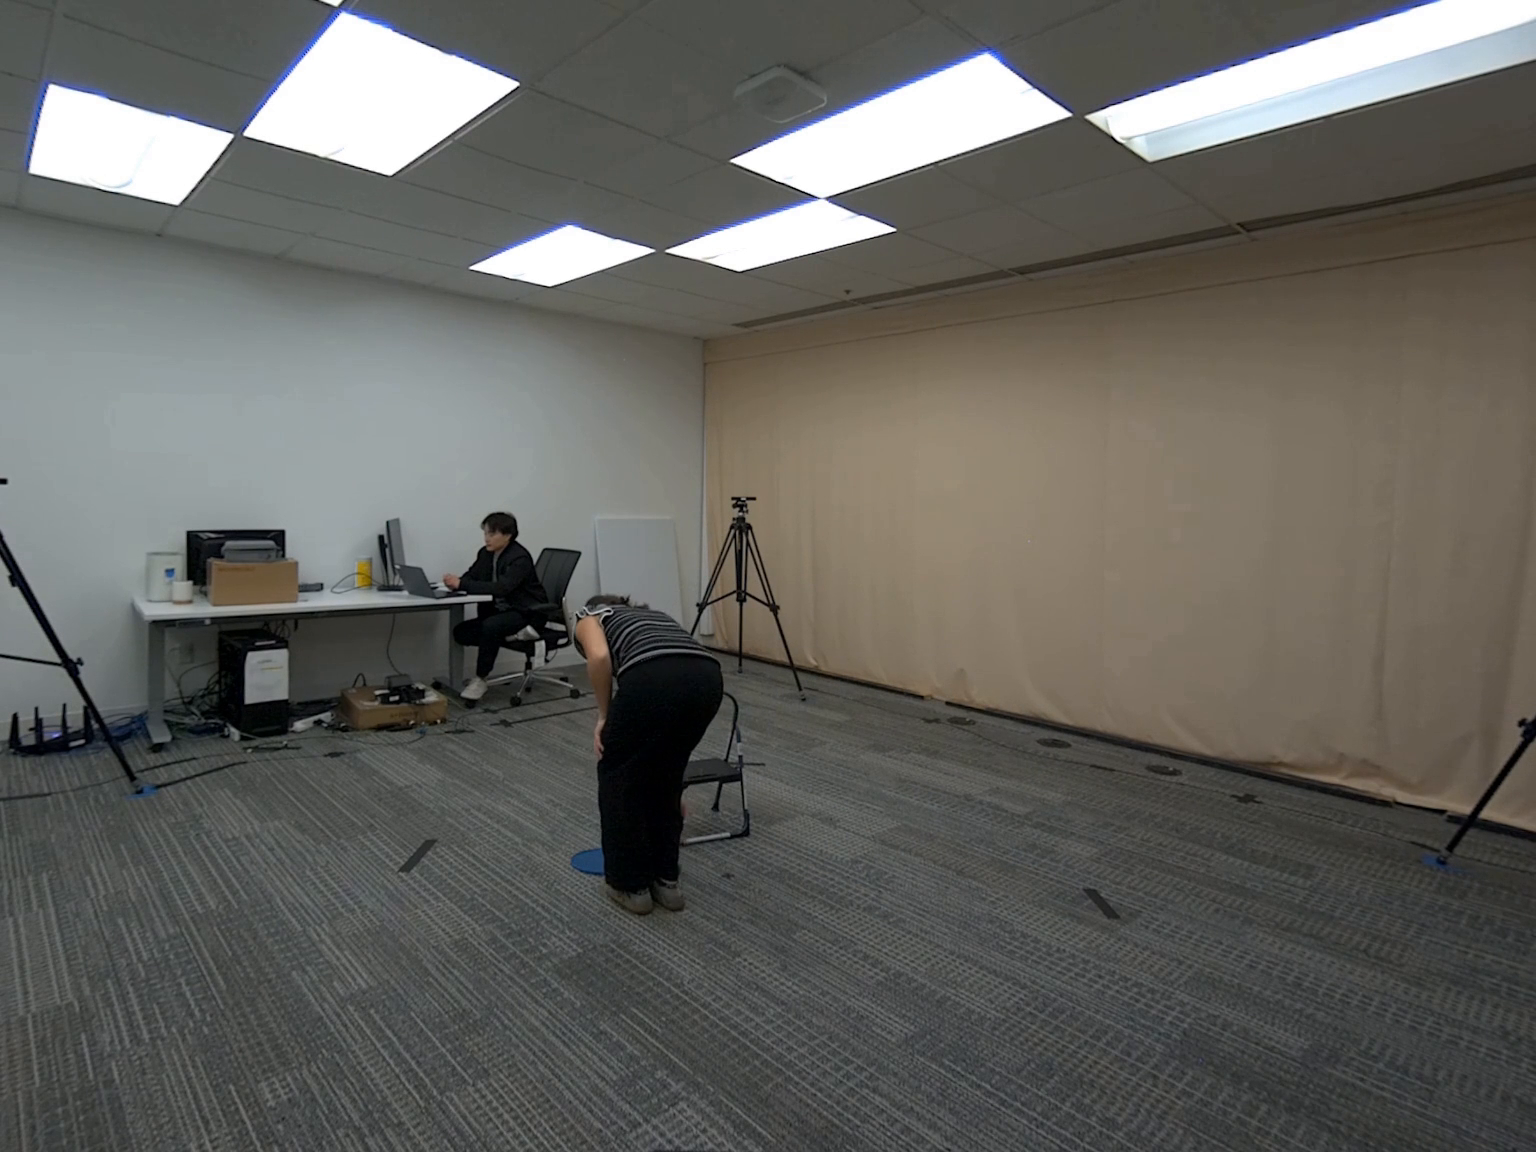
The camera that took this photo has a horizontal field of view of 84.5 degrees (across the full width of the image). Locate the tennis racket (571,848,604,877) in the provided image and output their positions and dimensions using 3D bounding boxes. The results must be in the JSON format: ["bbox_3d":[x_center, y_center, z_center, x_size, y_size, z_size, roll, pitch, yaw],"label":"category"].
[{"bbox_3d":[-0.535,1.073,3.164,0.439,0.031,0.211,1,5,16],"label":"tennis racket"}]
